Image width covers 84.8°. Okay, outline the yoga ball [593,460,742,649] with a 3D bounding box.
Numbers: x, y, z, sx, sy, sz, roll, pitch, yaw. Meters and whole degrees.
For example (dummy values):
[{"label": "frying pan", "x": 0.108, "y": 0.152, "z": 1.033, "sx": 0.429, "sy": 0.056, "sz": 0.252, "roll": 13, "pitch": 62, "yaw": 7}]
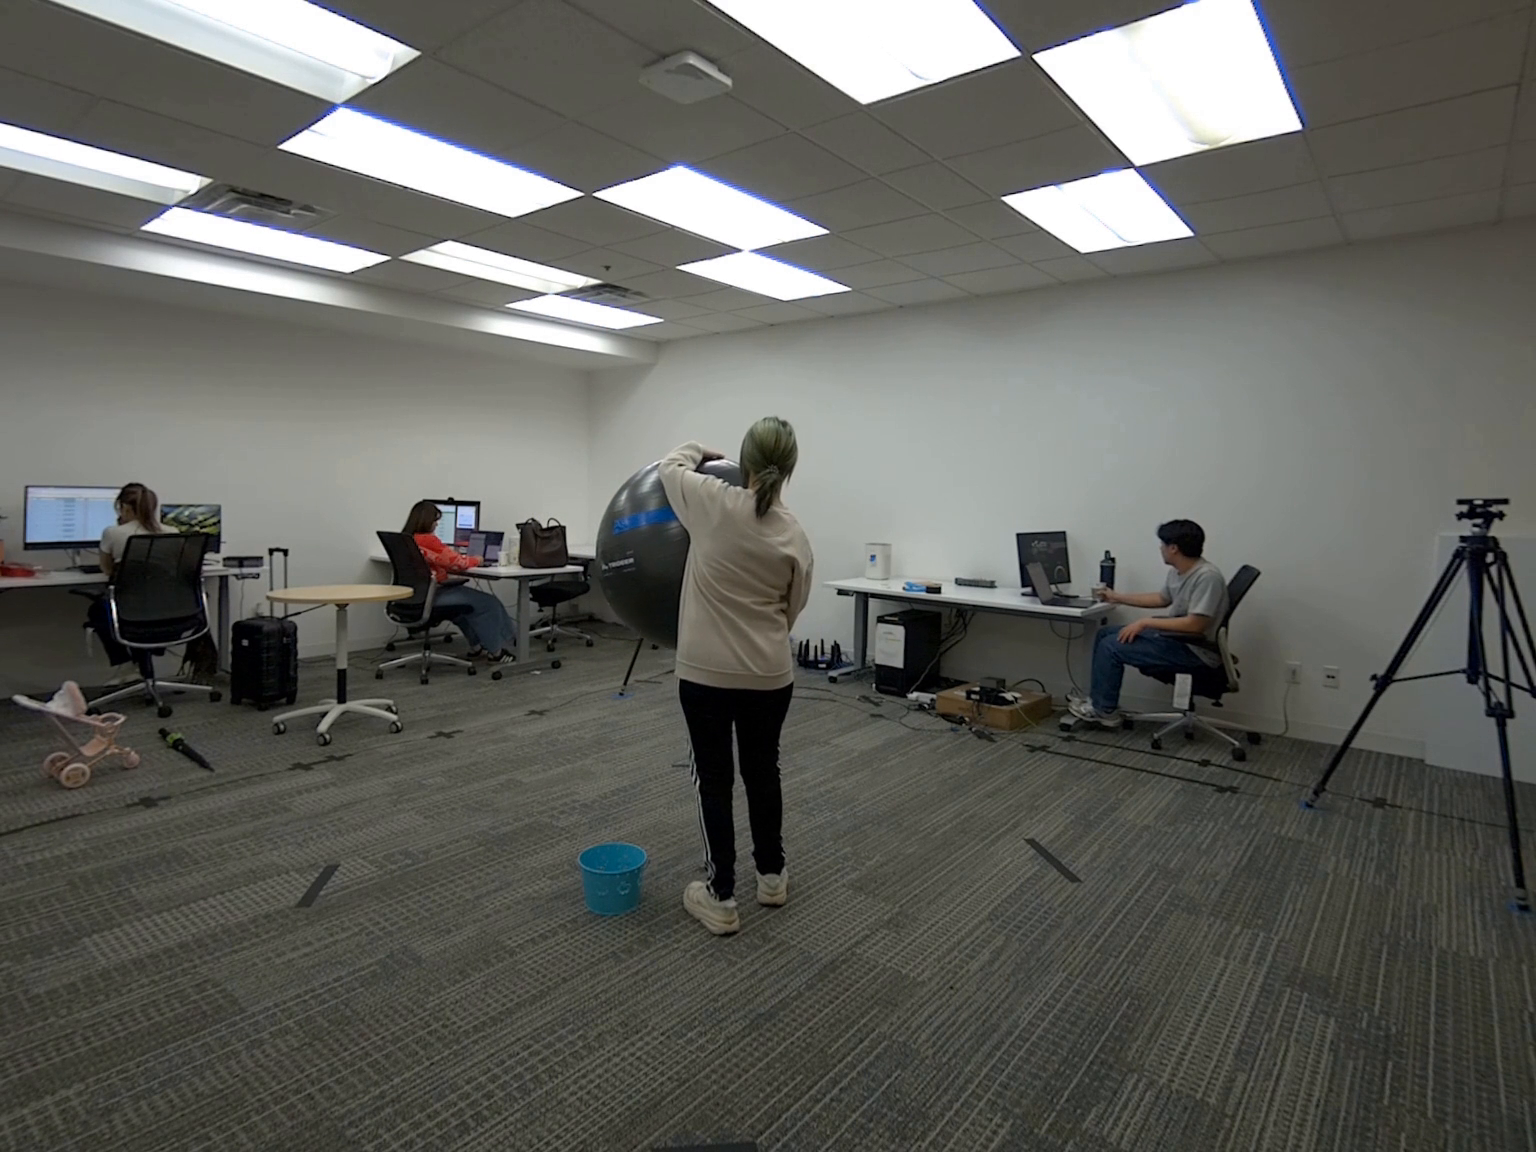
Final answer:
[{"label": "yoga ball", "x": -0.296, "y": -0.086, "z": 3.267, "sx": 0.757, "sy": 0.756, "sz": 0.761, "roll": 1, "pitch": 4, "yaw": -2}]
